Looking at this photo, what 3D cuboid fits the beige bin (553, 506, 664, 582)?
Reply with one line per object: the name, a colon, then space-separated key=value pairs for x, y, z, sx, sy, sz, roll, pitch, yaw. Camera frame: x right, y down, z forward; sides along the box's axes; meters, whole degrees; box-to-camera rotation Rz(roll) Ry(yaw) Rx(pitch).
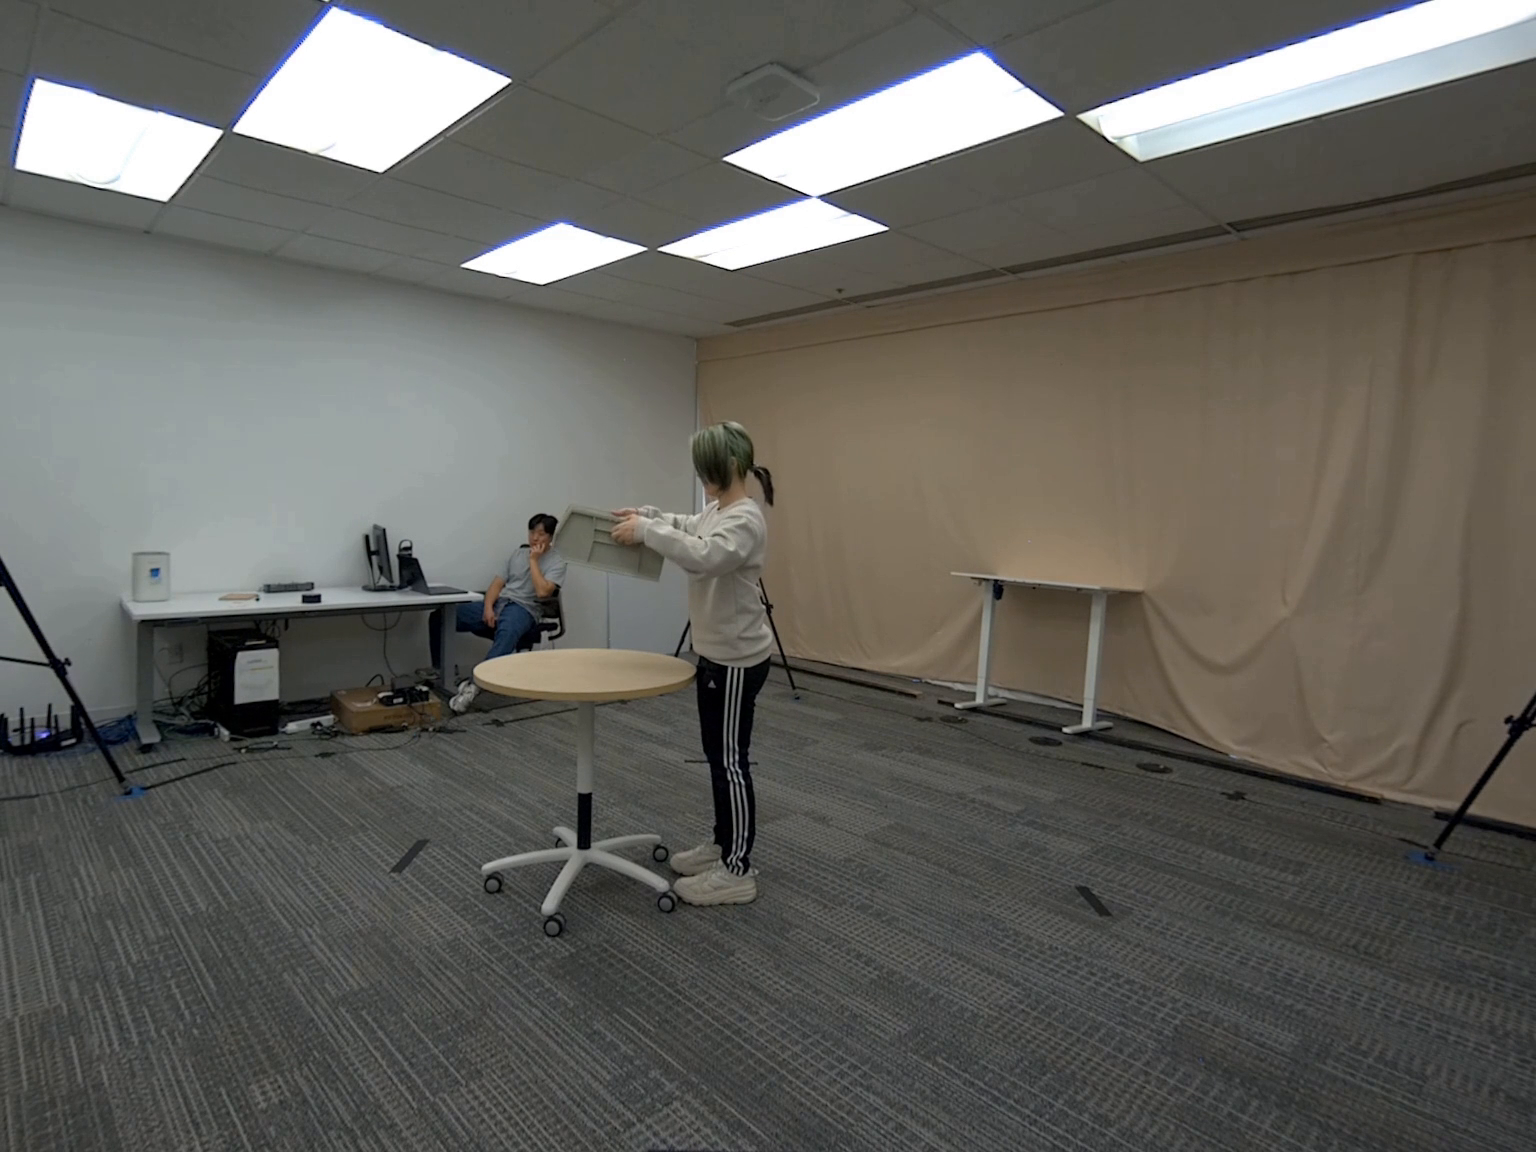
beige bin: x=-0.556 y=-0.116 z=2.933 sx=0.373 sy=0.189 sz=0.428 roll=12 pitch=4 yaw=-14
